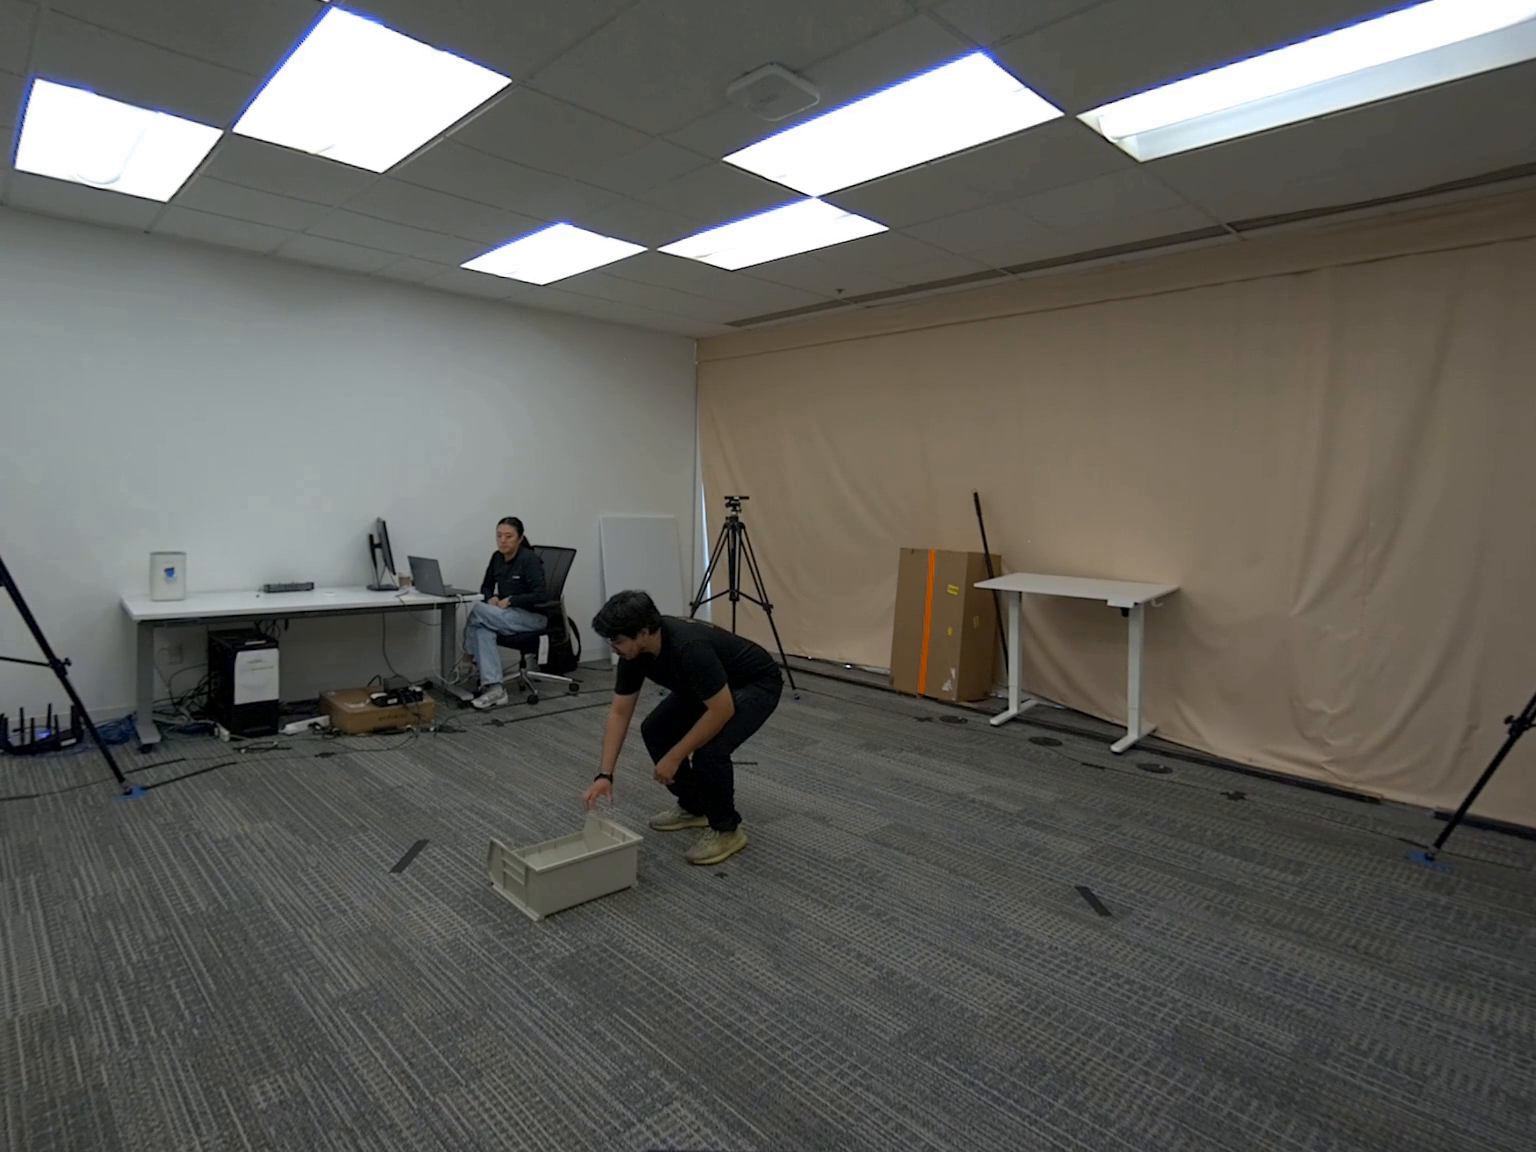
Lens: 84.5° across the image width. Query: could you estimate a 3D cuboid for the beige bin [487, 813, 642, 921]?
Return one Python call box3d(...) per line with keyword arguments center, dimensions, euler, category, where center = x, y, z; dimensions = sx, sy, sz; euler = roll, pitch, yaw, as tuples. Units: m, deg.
box3d(center=(-0.734, 1.016, 2.991), dimensions=(0.412, 0.188, 0.387), euler=(-2, 7, -42), category="beige bin")
